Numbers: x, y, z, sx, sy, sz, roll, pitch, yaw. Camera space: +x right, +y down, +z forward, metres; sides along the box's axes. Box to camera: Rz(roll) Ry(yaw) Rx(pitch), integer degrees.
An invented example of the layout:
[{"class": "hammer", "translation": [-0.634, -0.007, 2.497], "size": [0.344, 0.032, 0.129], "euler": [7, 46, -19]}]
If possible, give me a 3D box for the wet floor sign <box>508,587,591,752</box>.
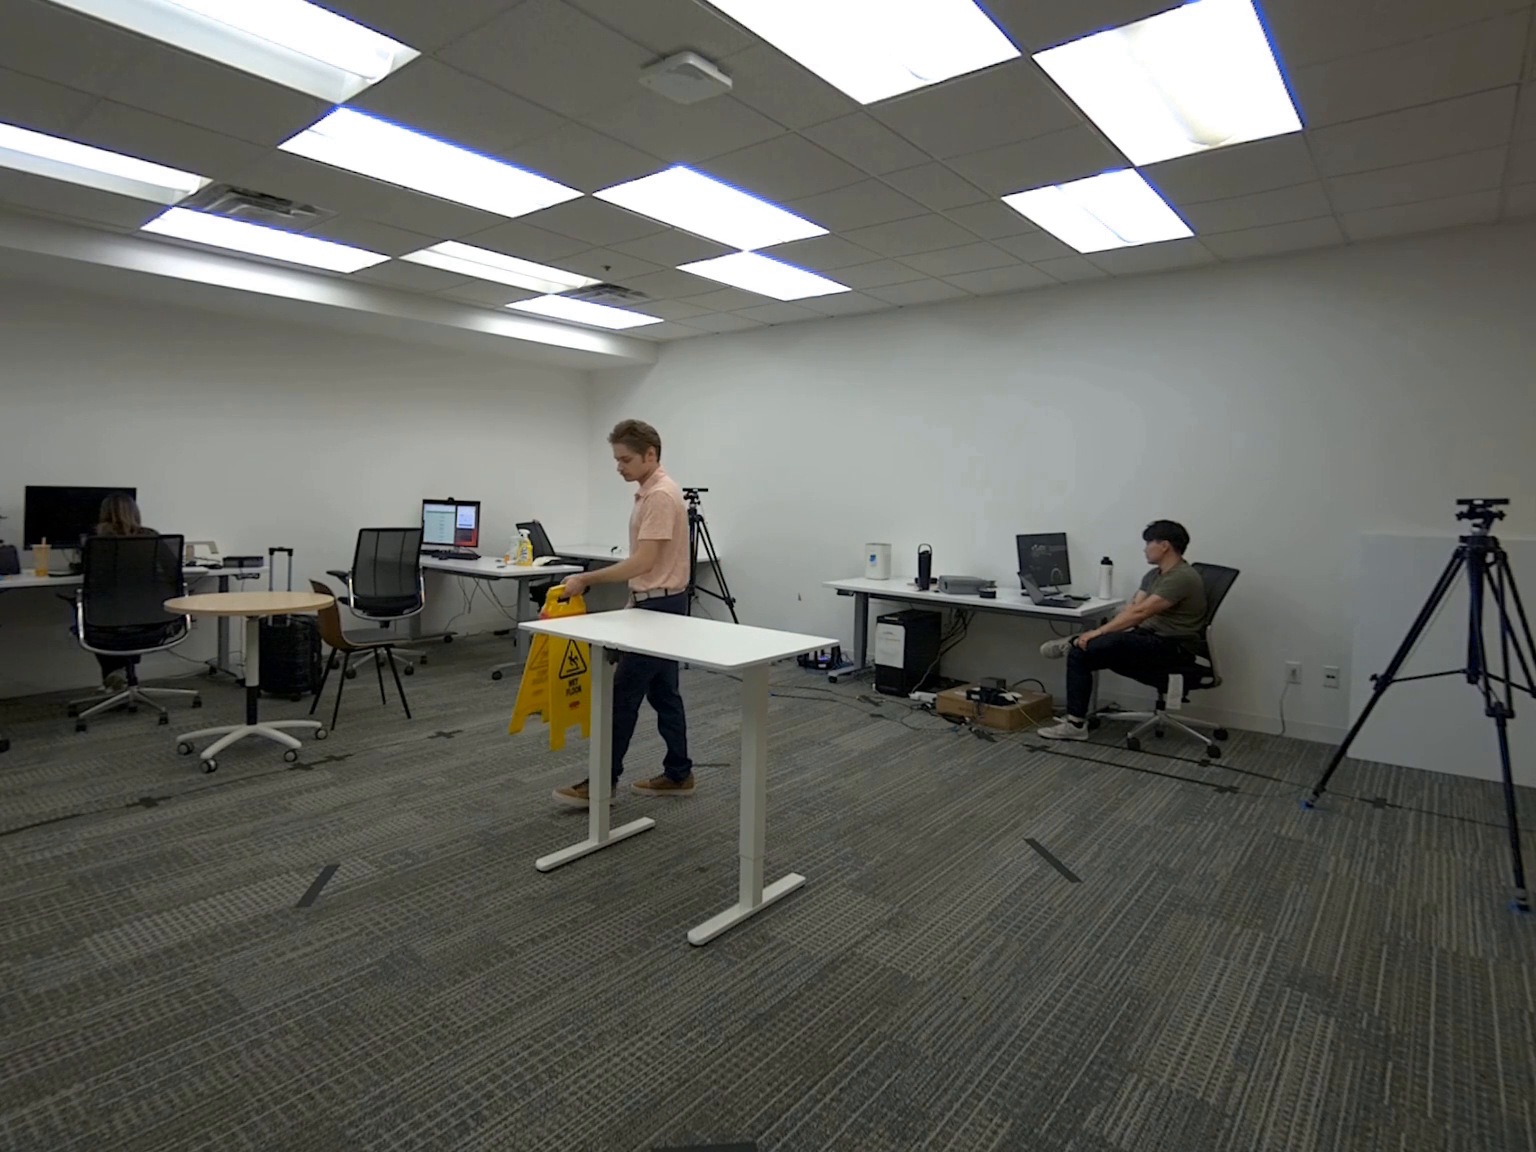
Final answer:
[{"class": "wet floor sign", "translation": [-0.895, 0.358, 3.567], "size": [0.299, 0.642, 0.275], "euler": [10, 7, 29]}]
